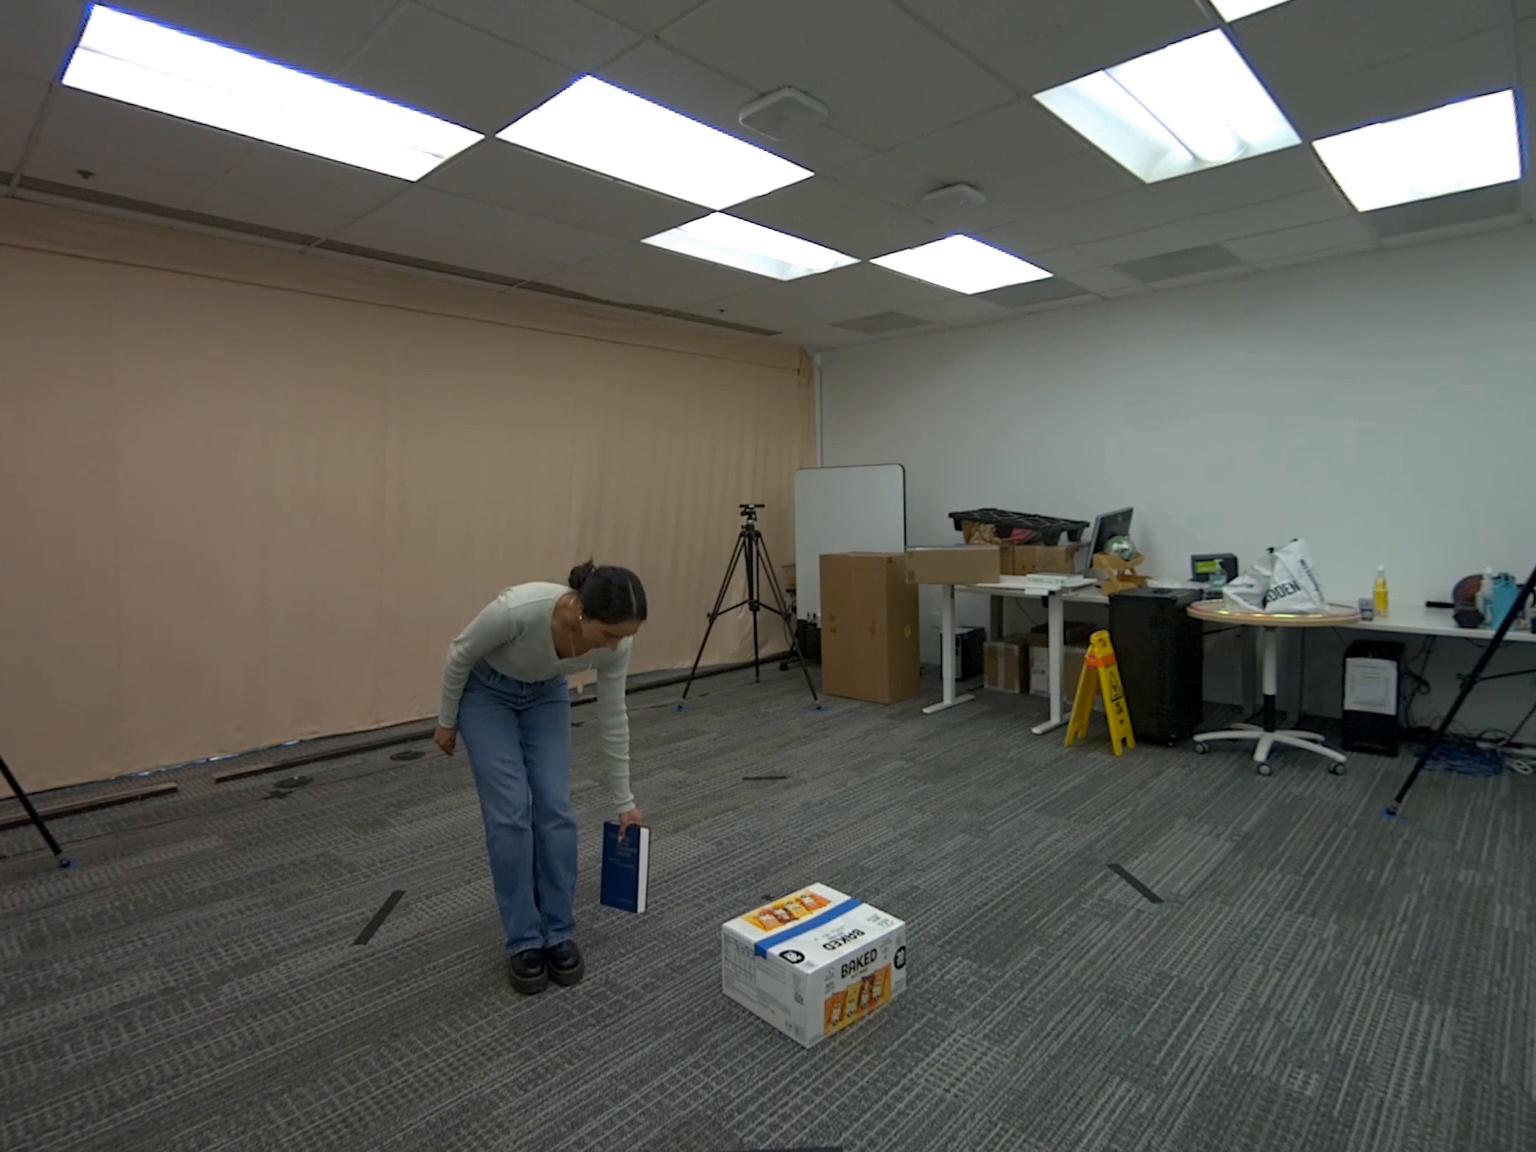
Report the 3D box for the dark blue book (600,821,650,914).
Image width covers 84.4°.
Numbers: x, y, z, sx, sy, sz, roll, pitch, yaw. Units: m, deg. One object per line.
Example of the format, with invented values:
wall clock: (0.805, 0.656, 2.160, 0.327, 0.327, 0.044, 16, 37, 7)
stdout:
dark blue book: (-0.435, 0.892, 2.548, 0.168, 0.246, 0.043, -5, -11, 34)
